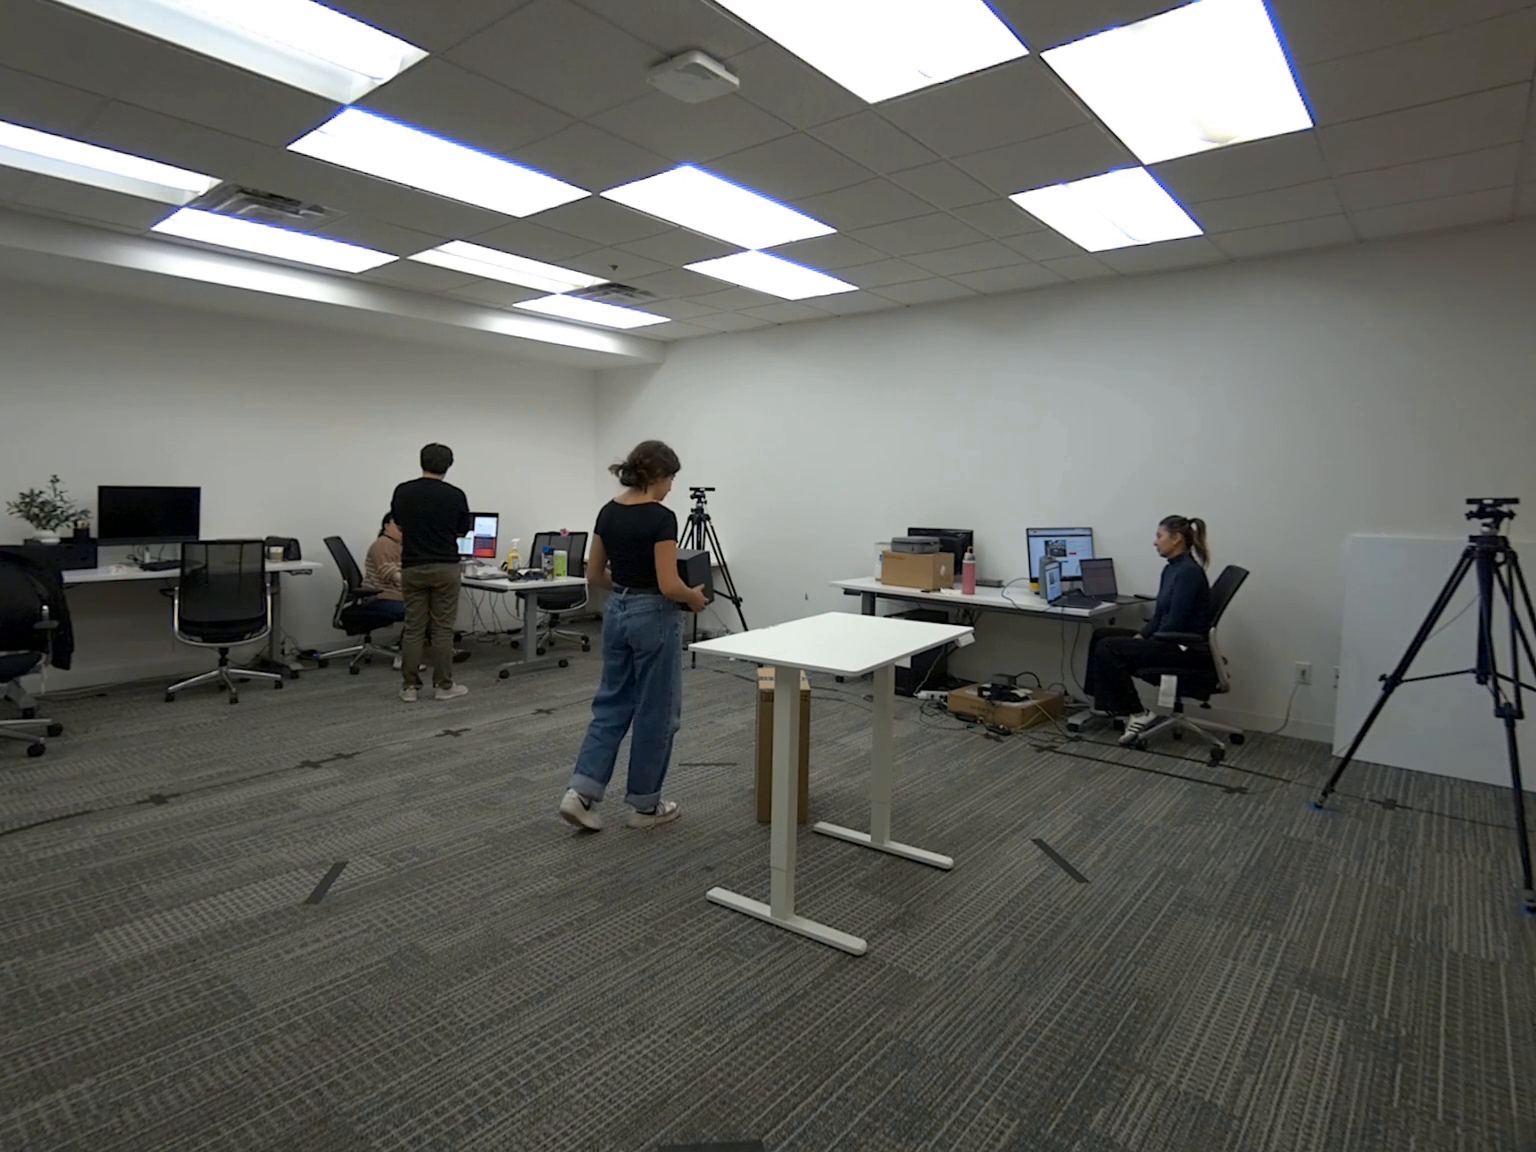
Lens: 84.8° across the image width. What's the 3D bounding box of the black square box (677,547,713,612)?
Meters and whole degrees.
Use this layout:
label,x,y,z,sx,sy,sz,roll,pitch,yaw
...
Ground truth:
label,x,y,z,sx,sy,sz,roll,pitch,yaw
black square box,-0.380,0.008,3.626,0.224,0.225,0.153,7,16,35
